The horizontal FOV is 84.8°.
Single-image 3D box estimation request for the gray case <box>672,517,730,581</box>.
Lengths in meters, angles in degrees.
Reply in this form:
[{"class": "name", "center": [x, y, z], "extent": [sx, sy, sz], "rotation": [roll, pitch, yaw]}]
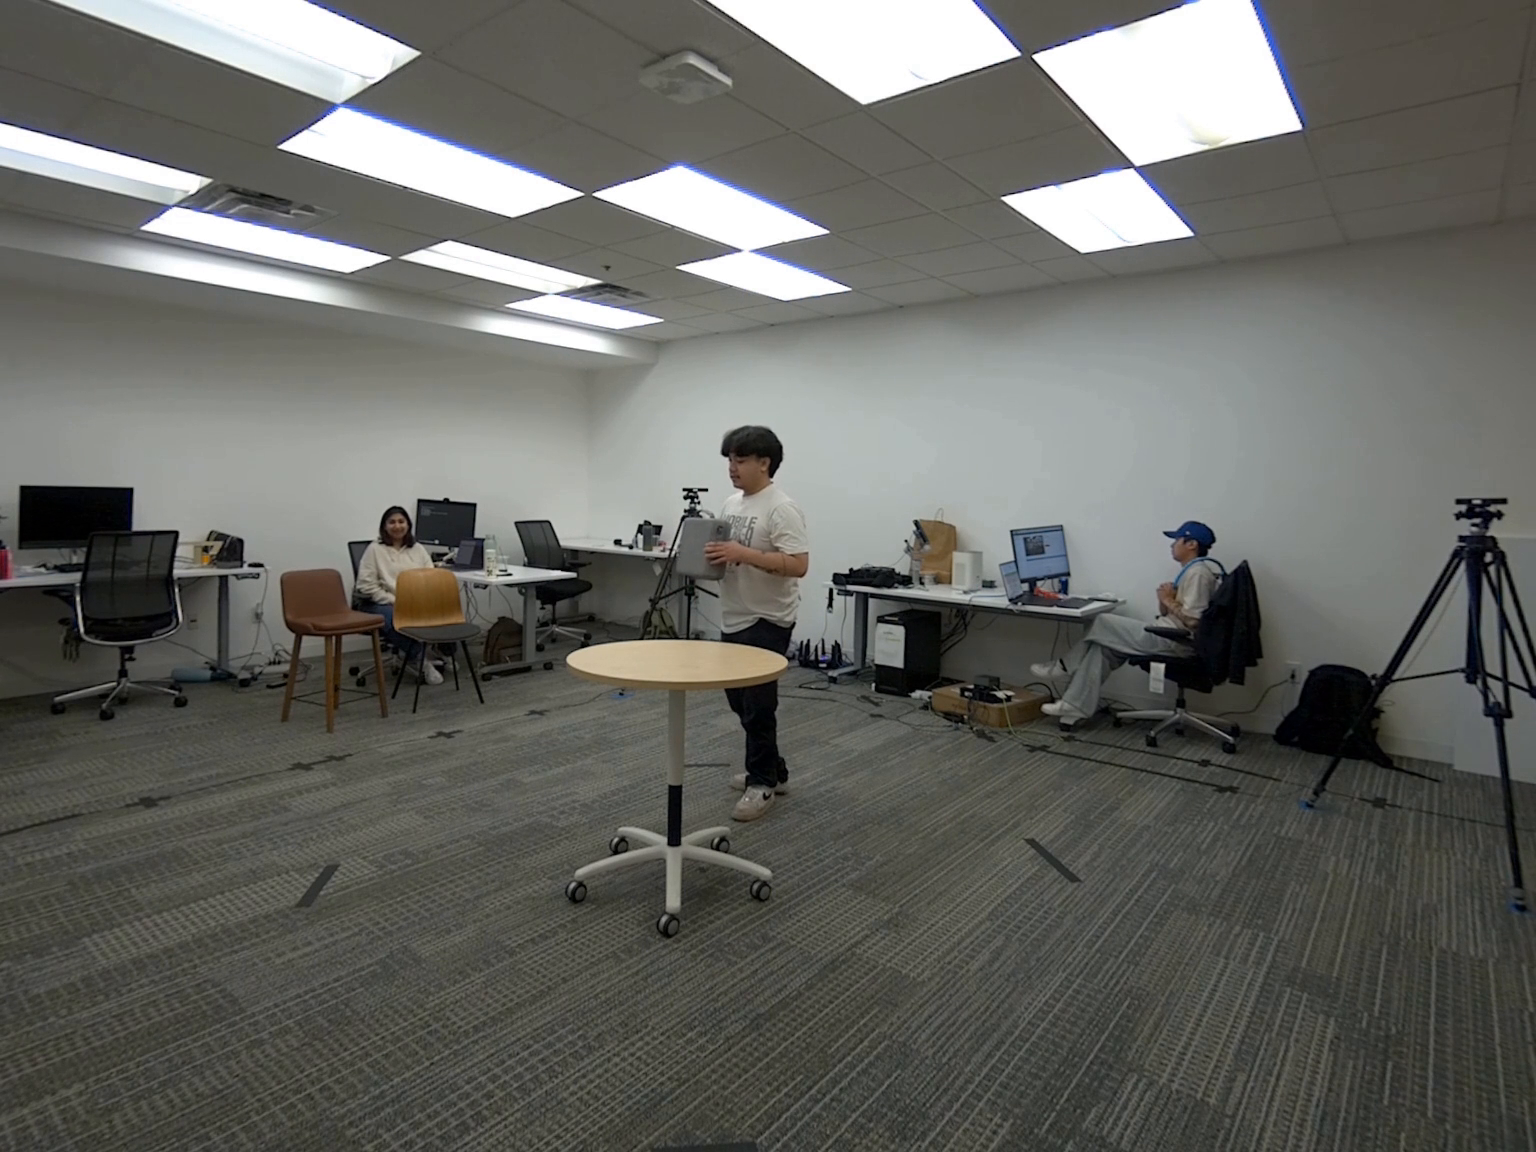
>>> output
[{"class": "gray case", "center": [-0.281, -0.125, 3.591], "extent": [0.101, 0.261, 0.265], "rotation": [8, -4, -38]}]
